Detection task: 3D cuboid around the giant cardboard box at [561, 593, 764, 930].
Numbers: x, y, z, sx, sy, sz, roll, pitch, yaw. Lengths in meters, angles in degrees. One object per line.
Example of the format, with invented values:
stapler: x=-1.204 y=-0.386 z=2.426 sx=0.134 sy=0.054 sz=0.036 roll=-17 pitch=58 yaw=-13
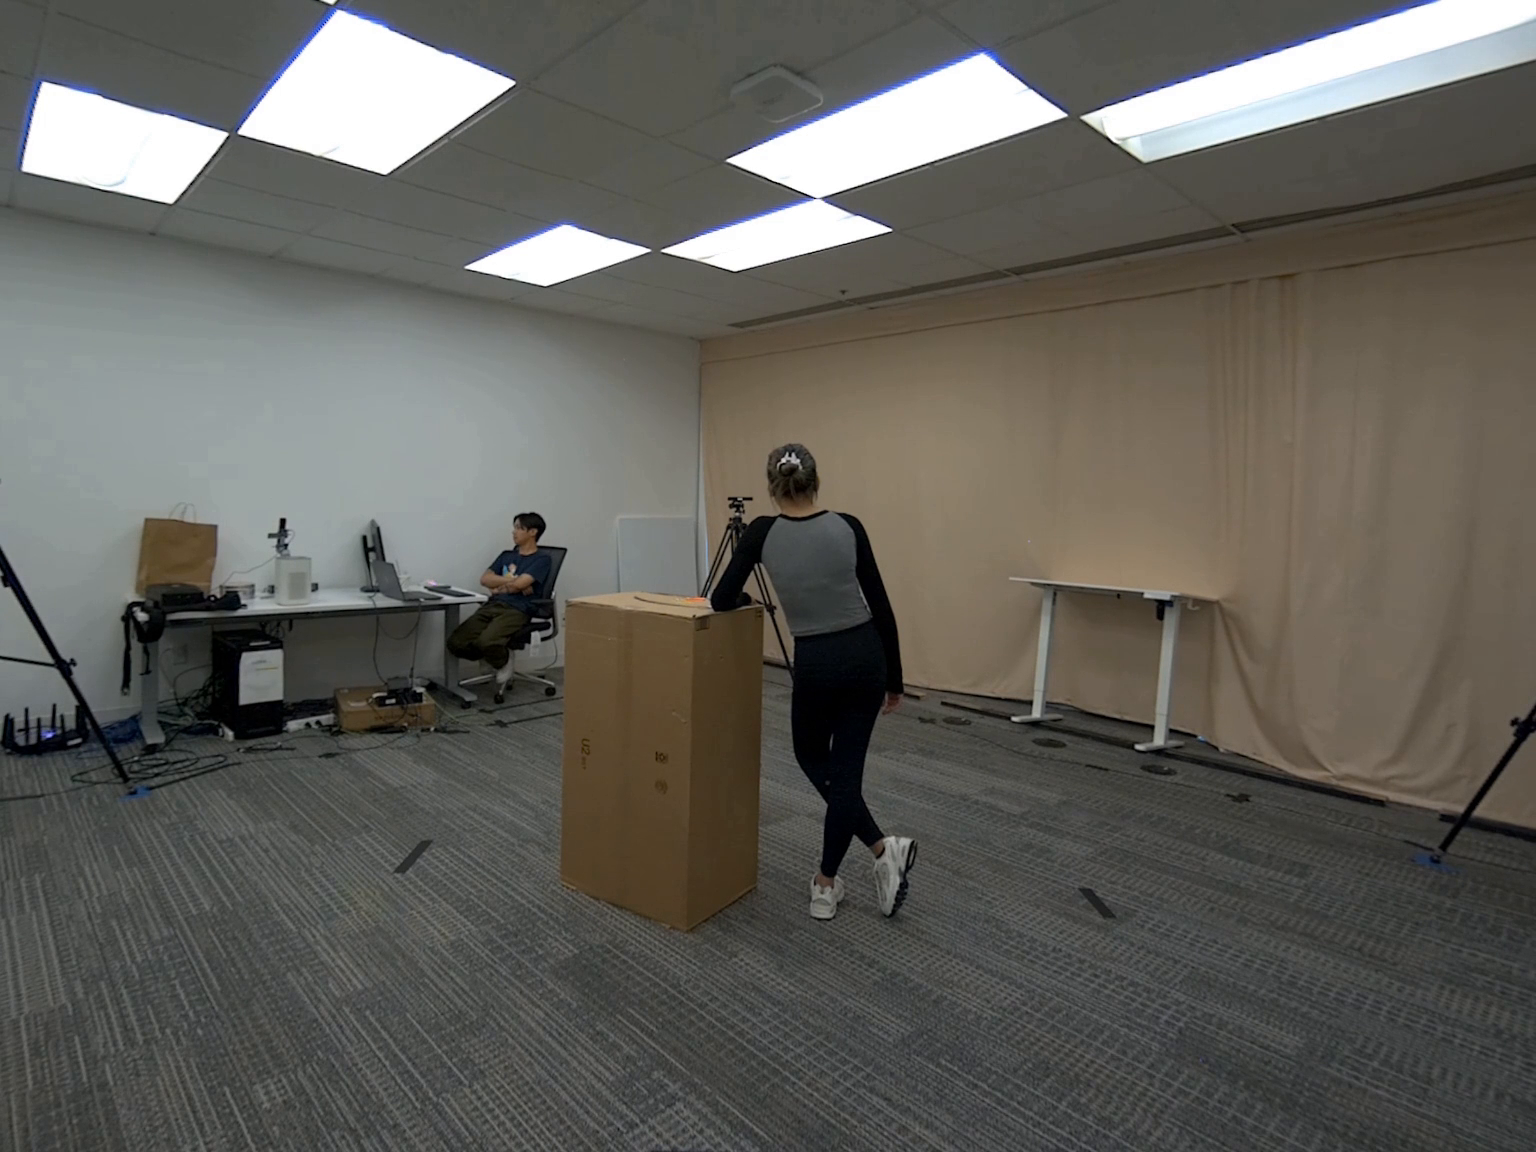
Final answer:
giant cardboard box: x=-0.384 y=0.603 z=2.999 sx=0.591 sy=1.023 sz=0.417 roll=4 pitch=4 yaw=34
